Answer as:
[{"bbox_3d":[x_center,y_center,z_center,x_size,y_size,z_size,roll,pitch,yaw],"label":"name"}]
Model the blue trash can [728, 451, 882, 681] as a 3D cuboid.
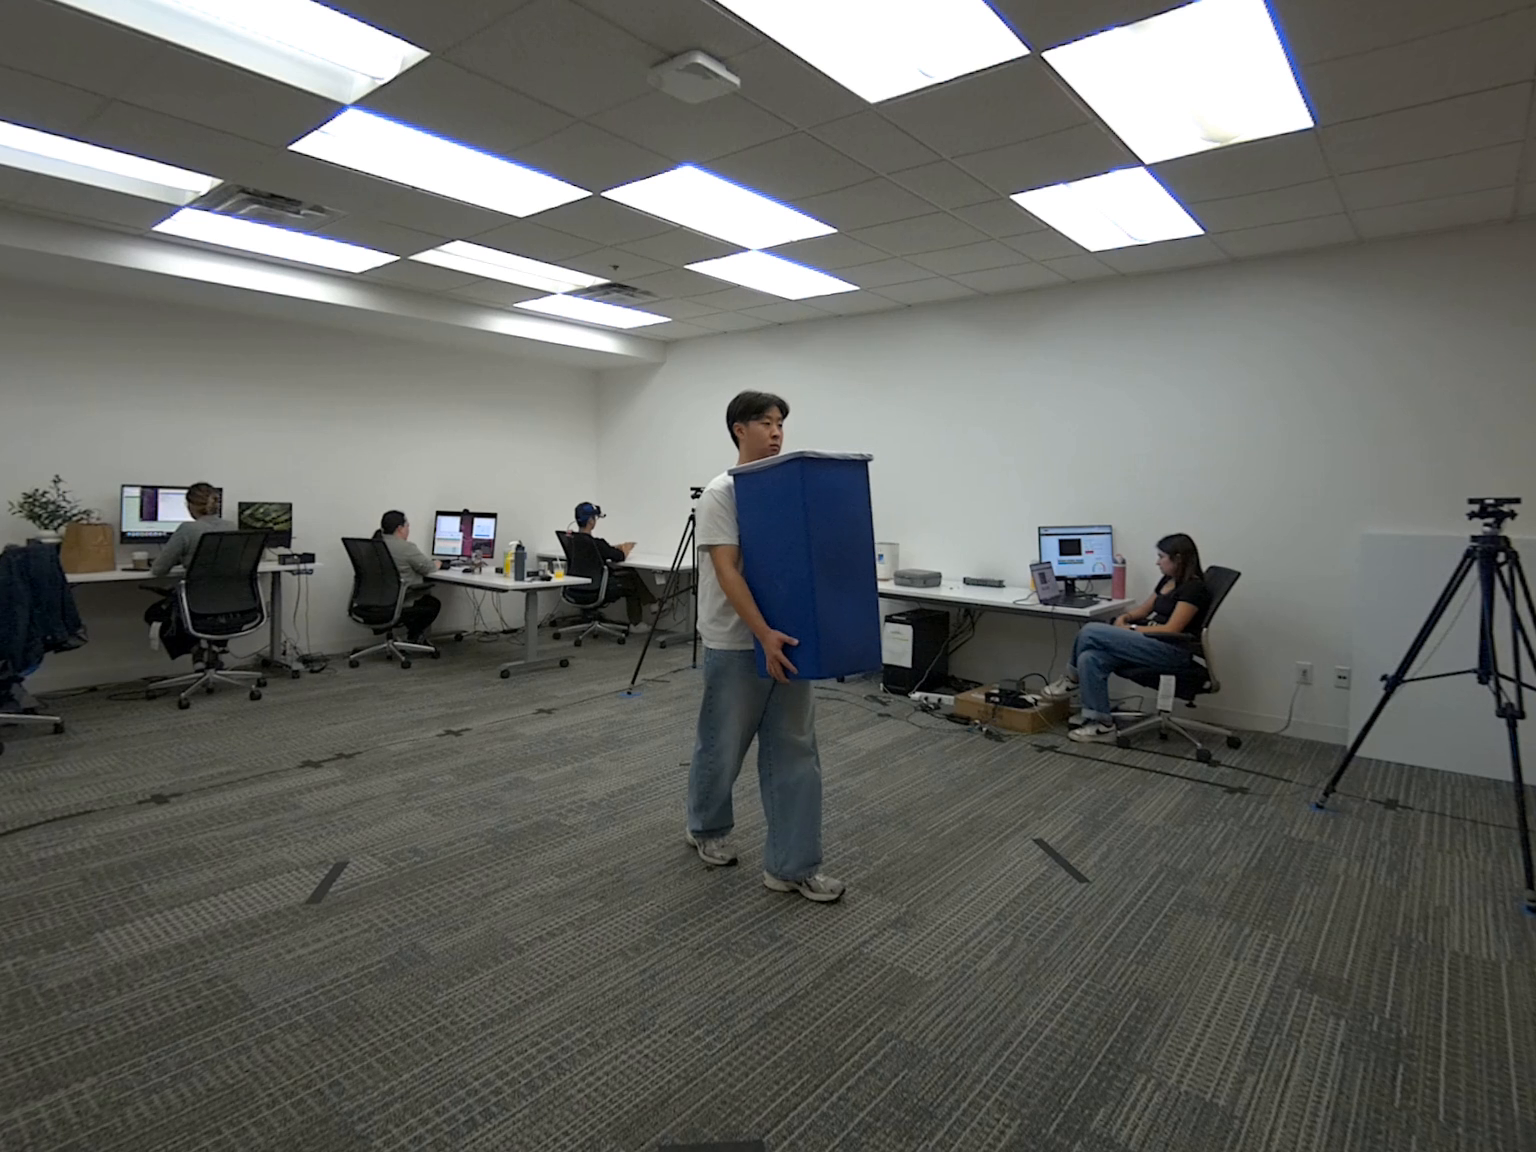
[{"bbox_3d":[0.140,-0.039,2.832,0.362,0.717,0.388,-1,-6,-41],"label":"blue trash can"}]
